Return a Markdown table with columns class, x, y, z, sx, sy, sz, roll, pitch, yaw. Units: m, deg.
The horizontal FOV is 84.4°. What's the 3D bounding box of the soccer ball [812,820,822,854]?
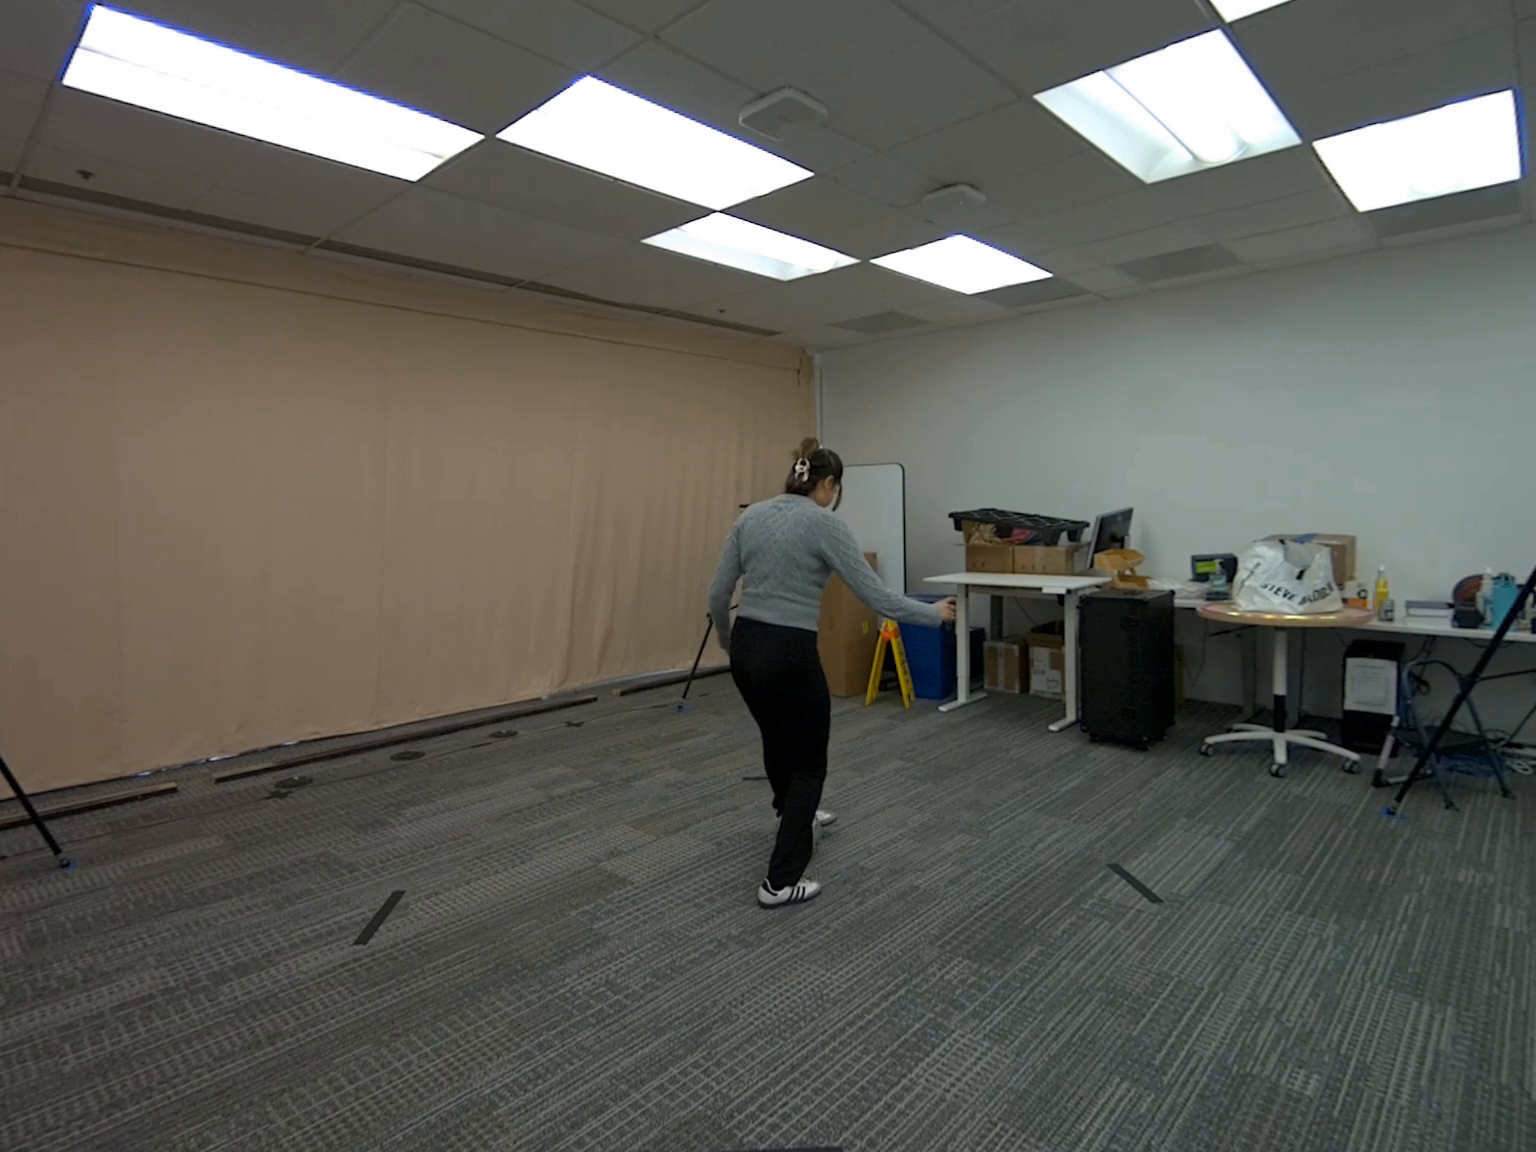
| class | x | y | z | sx | sy | sz | roll | pitch | yaw |
| --- | --- | --- | --- | --- | --- | --- | --- | --- | --- |
| soccer ball | 0.119 | 1.012 | 3.298 | 0.187 | 0.187 | 0.188 | -1 | 4 | -2 |
